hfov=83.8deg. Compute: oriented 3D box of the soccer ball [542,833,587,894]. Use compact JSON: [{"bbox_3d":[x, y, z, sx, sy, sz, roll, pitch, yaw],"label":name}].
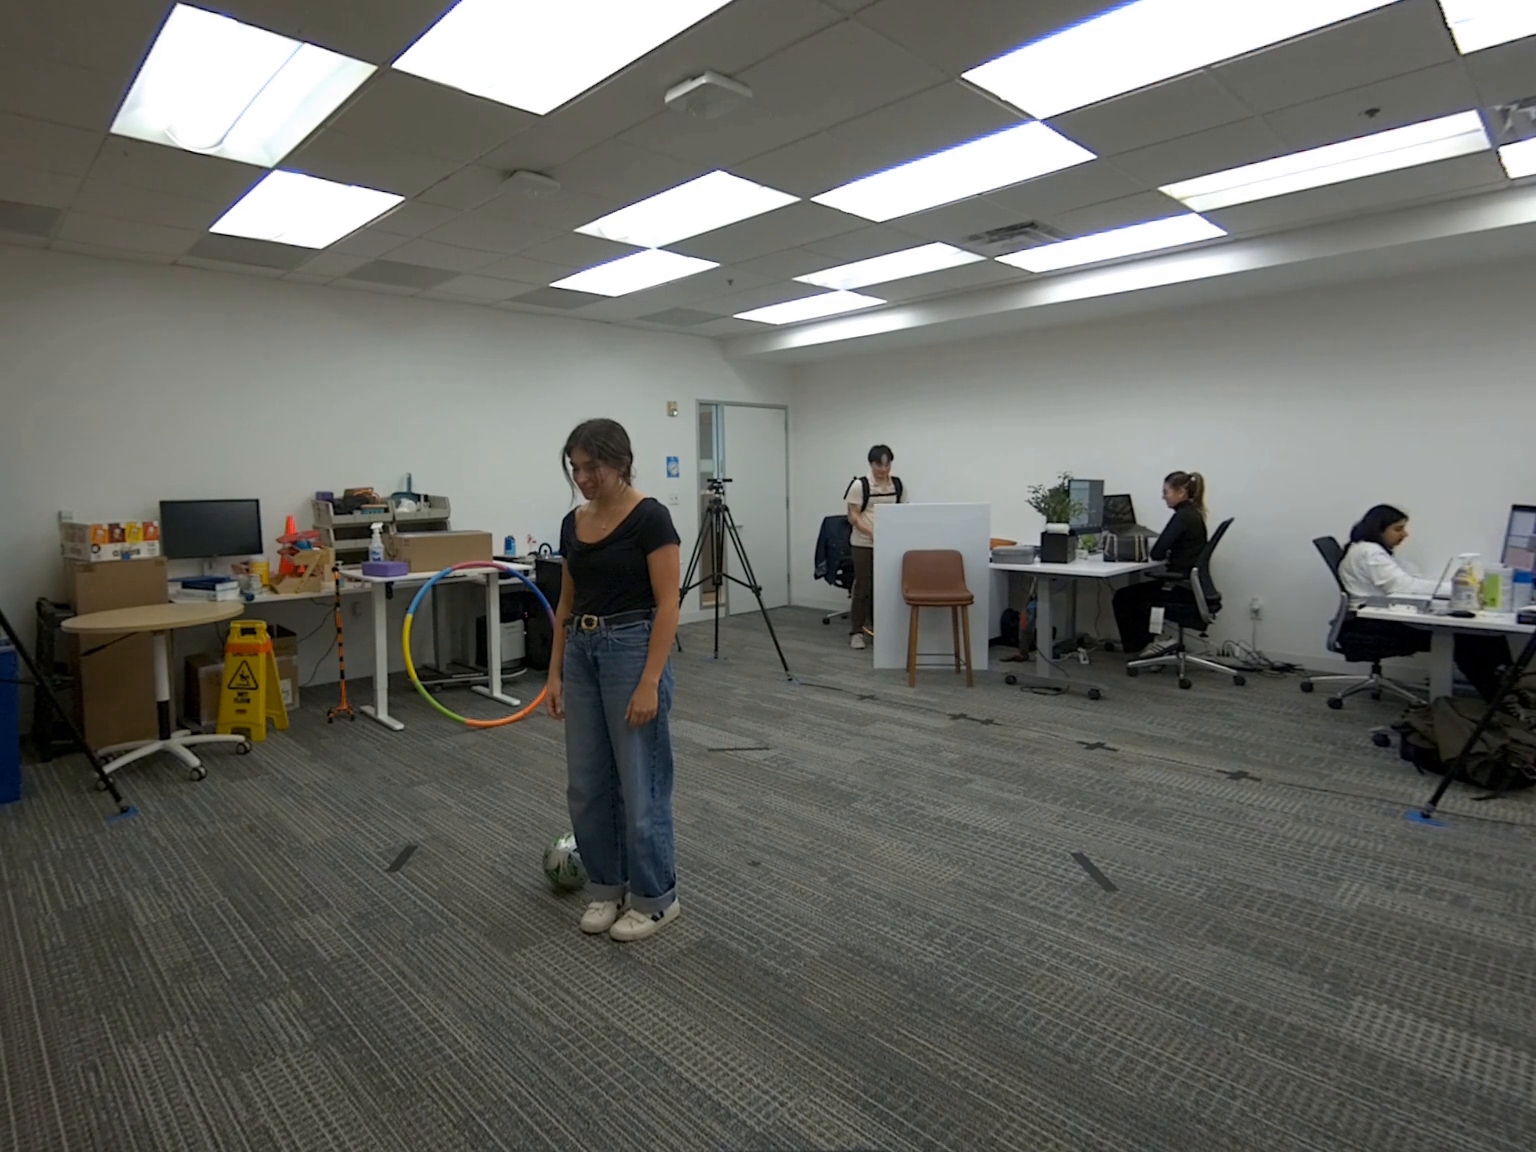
[{"bbox_3d":[-0.674,0.986,2.951,0.187,0.187,0.188,-1,5,-2],"label":"soccer ball"}]
